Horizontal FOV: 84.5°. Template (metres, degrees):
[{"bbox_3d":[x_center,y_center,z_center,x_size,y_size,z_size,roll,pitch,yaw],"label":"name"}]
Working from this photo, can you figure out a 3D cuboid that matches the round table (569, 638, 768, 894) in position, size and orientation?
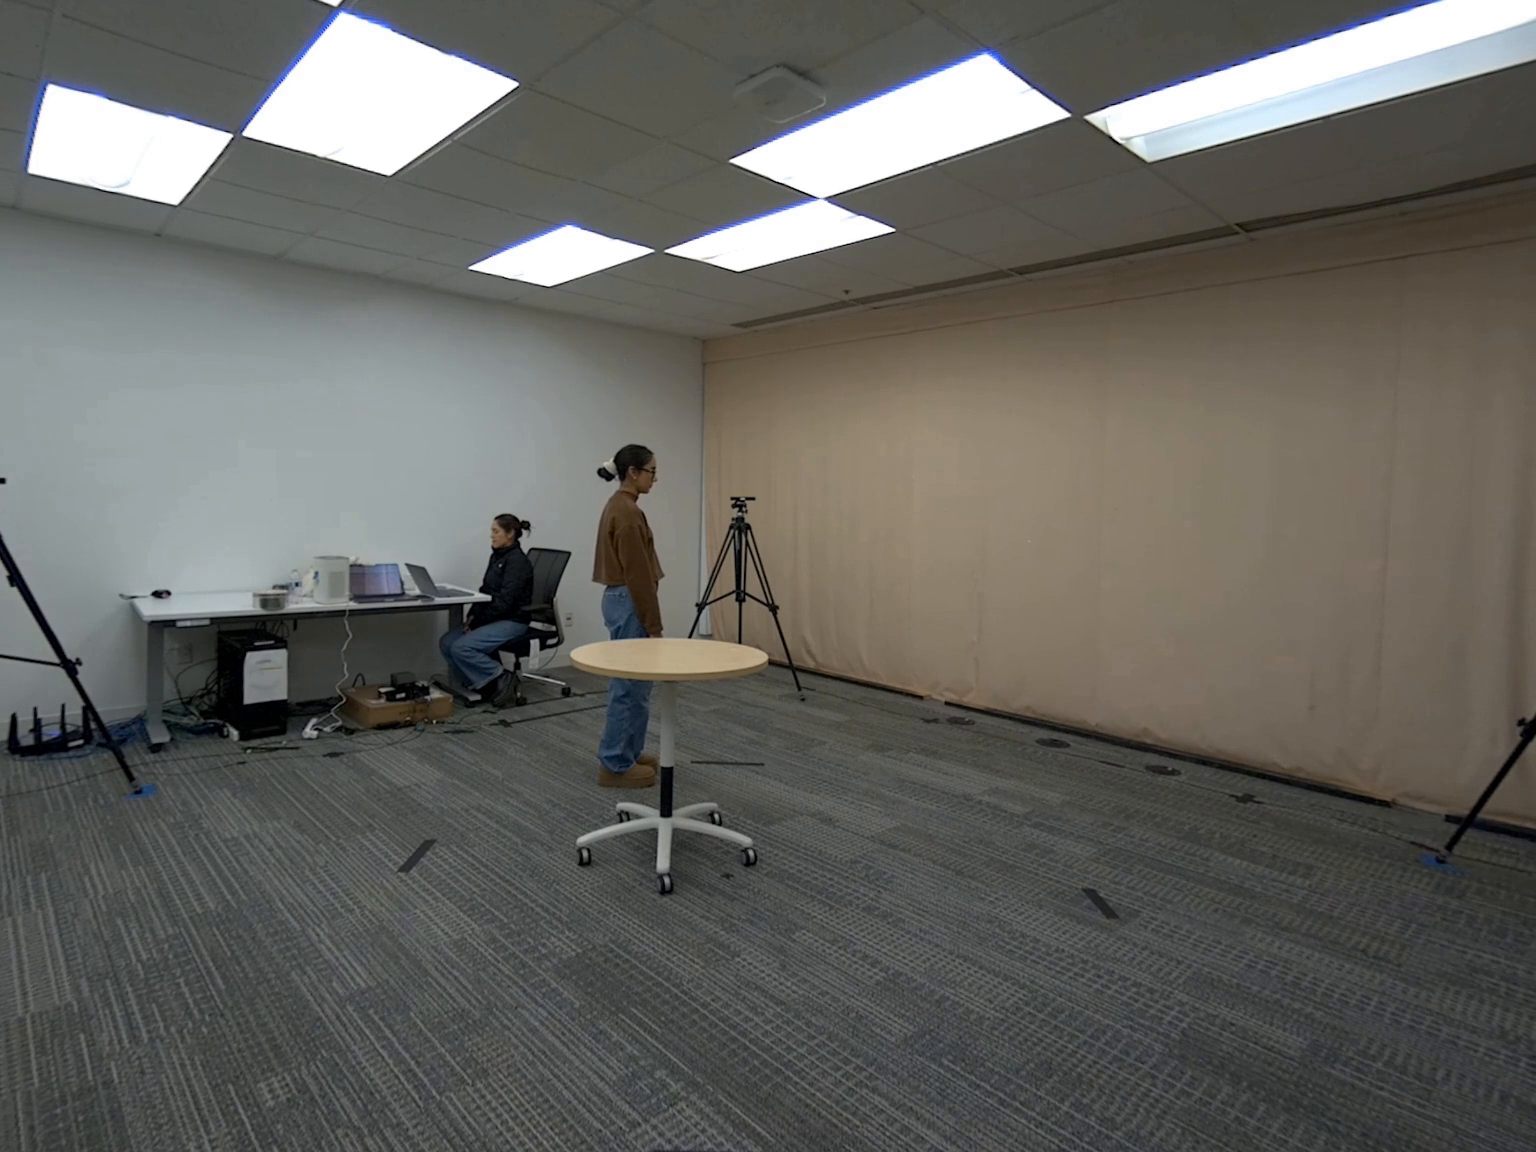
[{"bbox_3d":[-0.403,0.699,3.291,0.763,0.792,0.766,1,3,-1],"label":"round table"}]
